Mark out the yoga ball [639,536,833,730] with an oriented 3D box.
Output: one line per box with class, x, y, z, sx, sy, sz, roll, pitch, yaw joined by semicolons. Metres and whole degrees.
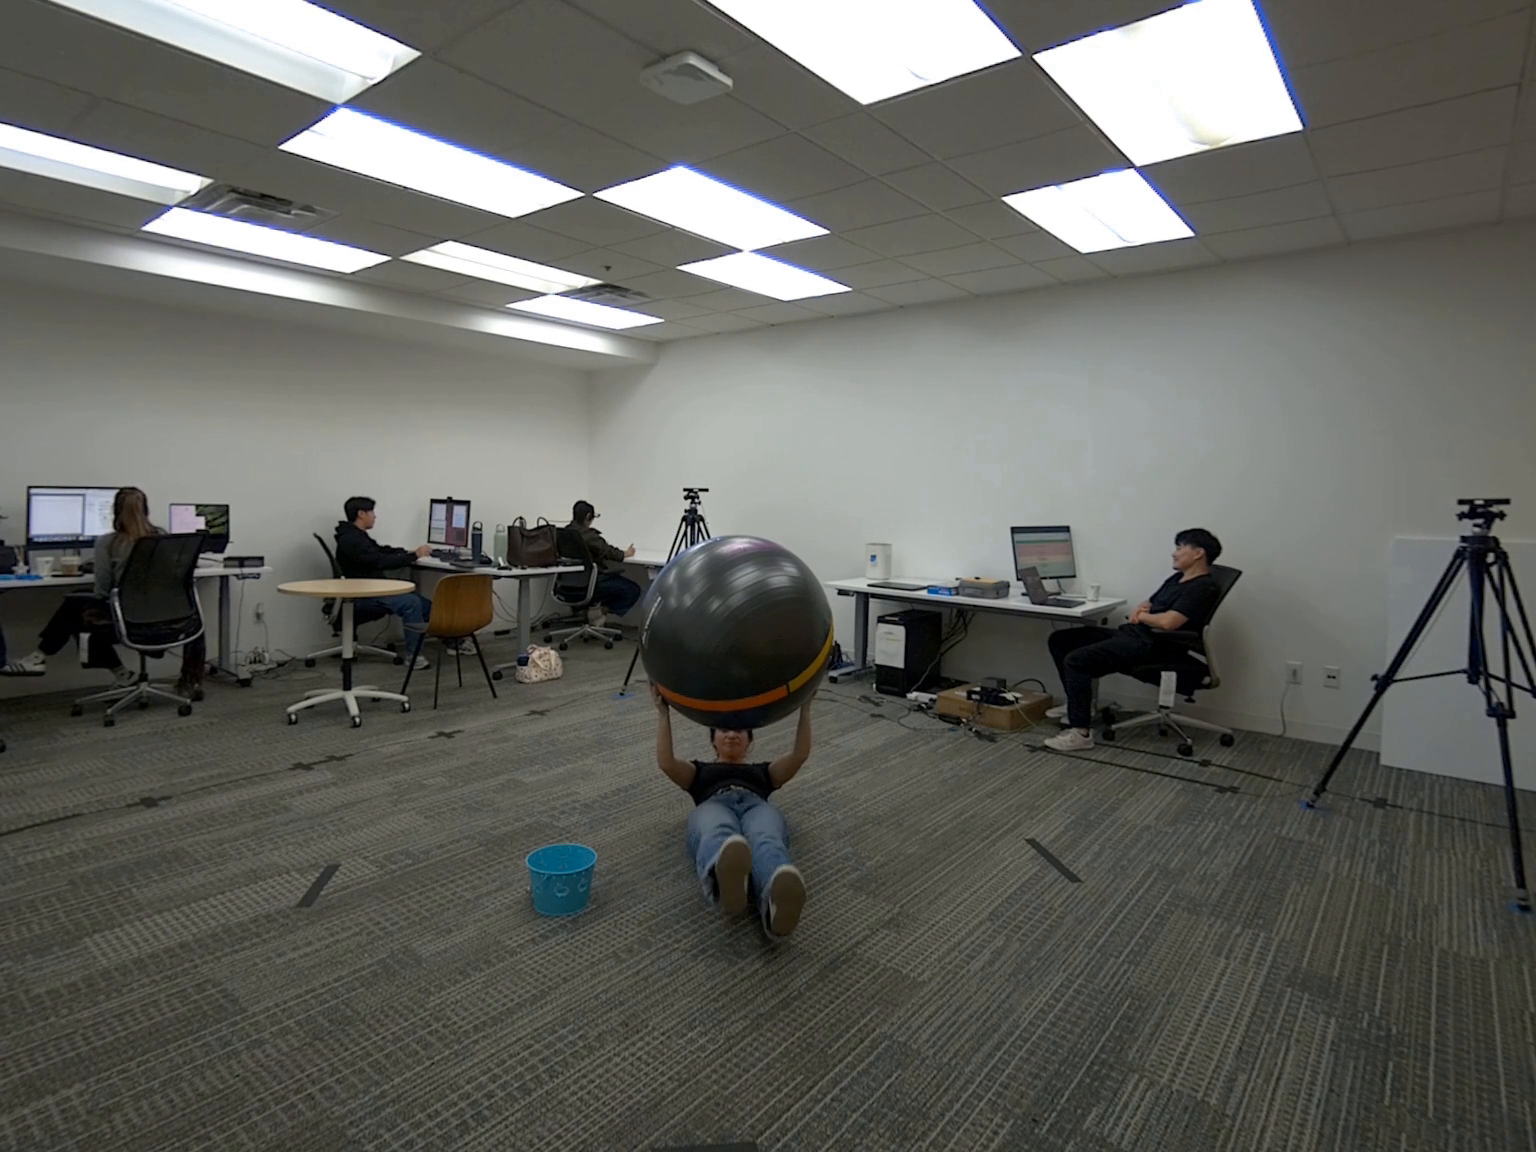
yoga ball;-0.134;0.217;3.327;0.757;0.755;0.762;1;4;-2
